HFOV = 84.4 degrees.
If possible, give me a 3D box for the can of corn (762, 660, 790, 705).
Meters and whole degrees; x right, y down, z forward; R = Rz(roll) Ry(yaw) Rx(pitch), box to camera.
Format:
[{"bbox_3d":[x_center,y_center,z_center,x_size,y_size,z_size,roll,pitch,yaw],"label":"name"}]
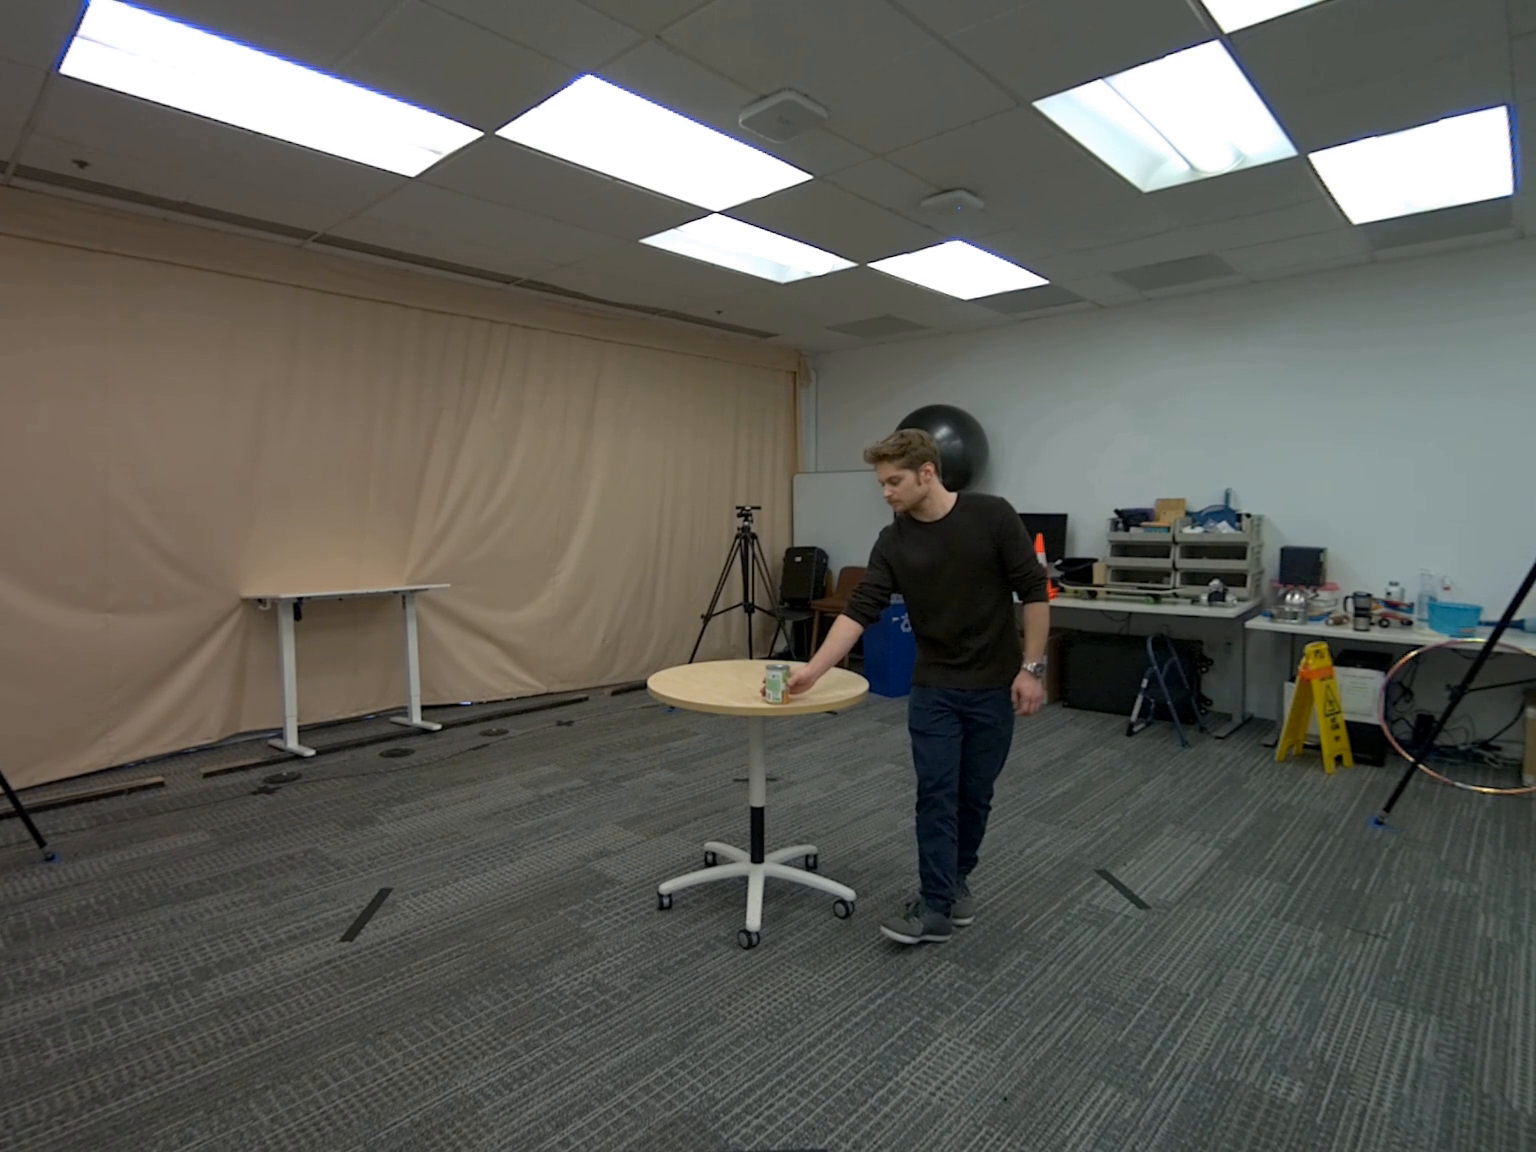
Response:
[{"bbox_3d":[0.044,0.338,2.614,0.074,0.111,0.074,1,5,-2],"label":"can of corn"}]
